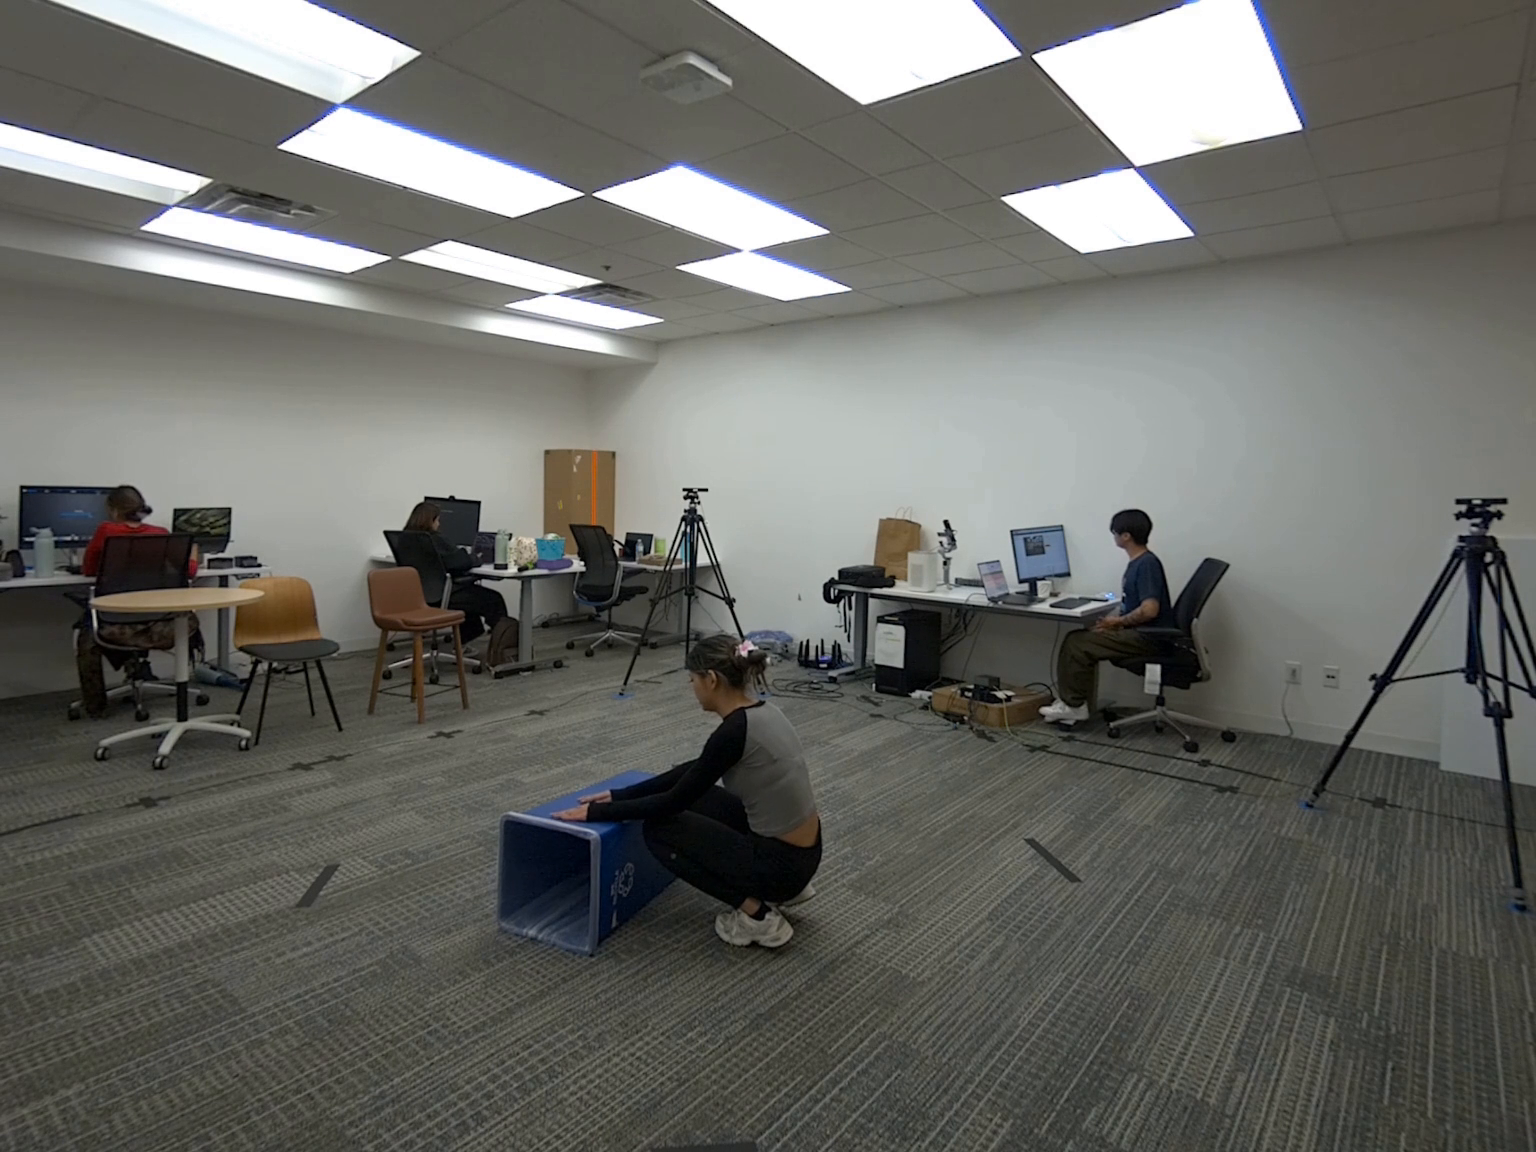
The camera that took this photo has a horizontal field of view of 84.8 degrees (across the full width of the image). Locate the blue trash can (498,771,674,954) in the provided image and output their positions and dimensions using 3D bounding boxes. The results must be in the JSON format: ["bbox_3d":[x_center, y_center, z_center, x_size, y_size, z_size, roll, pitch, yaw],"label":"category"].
[{"bbox_3d":[-0.548,0.915,2.903,0.383,0.377,0.697,2,3,24],"label":"blue trash can"}]
